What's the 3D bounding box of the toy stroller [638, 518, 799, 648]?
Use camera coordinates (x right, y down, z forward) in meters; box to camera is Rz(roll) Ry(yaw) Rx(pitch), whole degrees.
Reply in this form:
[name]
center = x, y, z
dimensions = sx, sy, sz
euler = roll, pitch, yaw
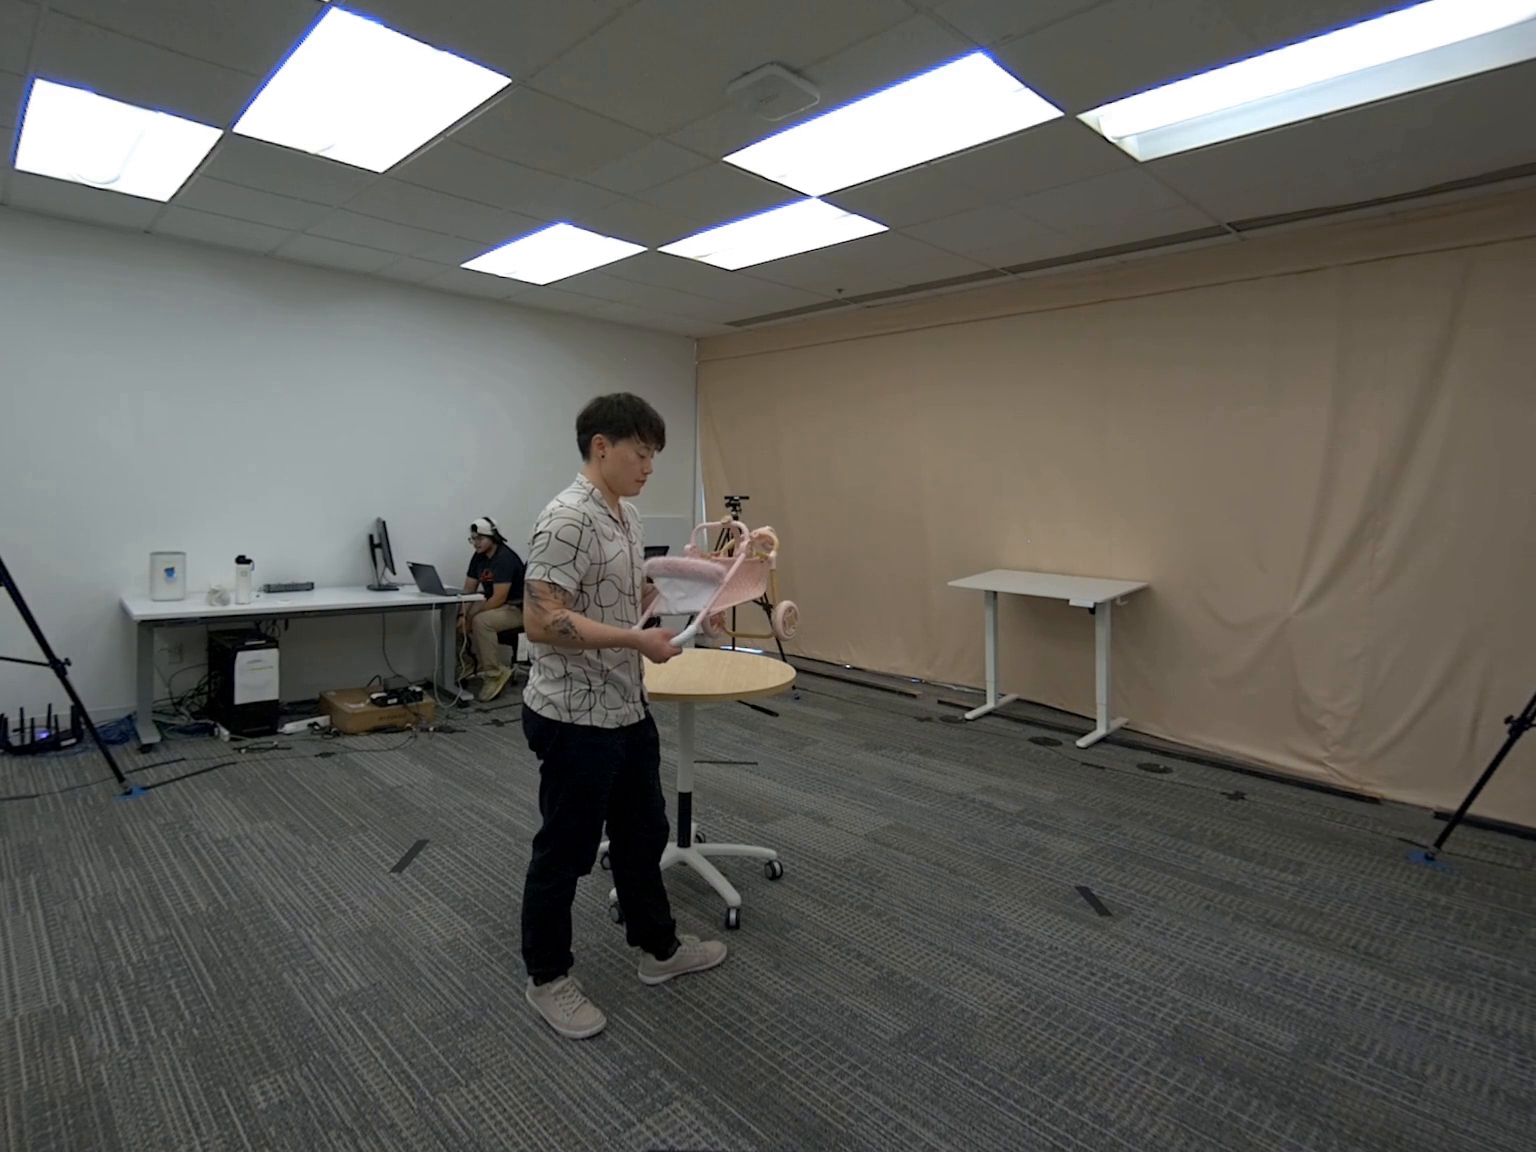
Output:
[toy stroller]
center = -0.133, 0.015, 2.238
dimensions = 0.288, 0.341, 0.522
euler = 3, -1, 36
